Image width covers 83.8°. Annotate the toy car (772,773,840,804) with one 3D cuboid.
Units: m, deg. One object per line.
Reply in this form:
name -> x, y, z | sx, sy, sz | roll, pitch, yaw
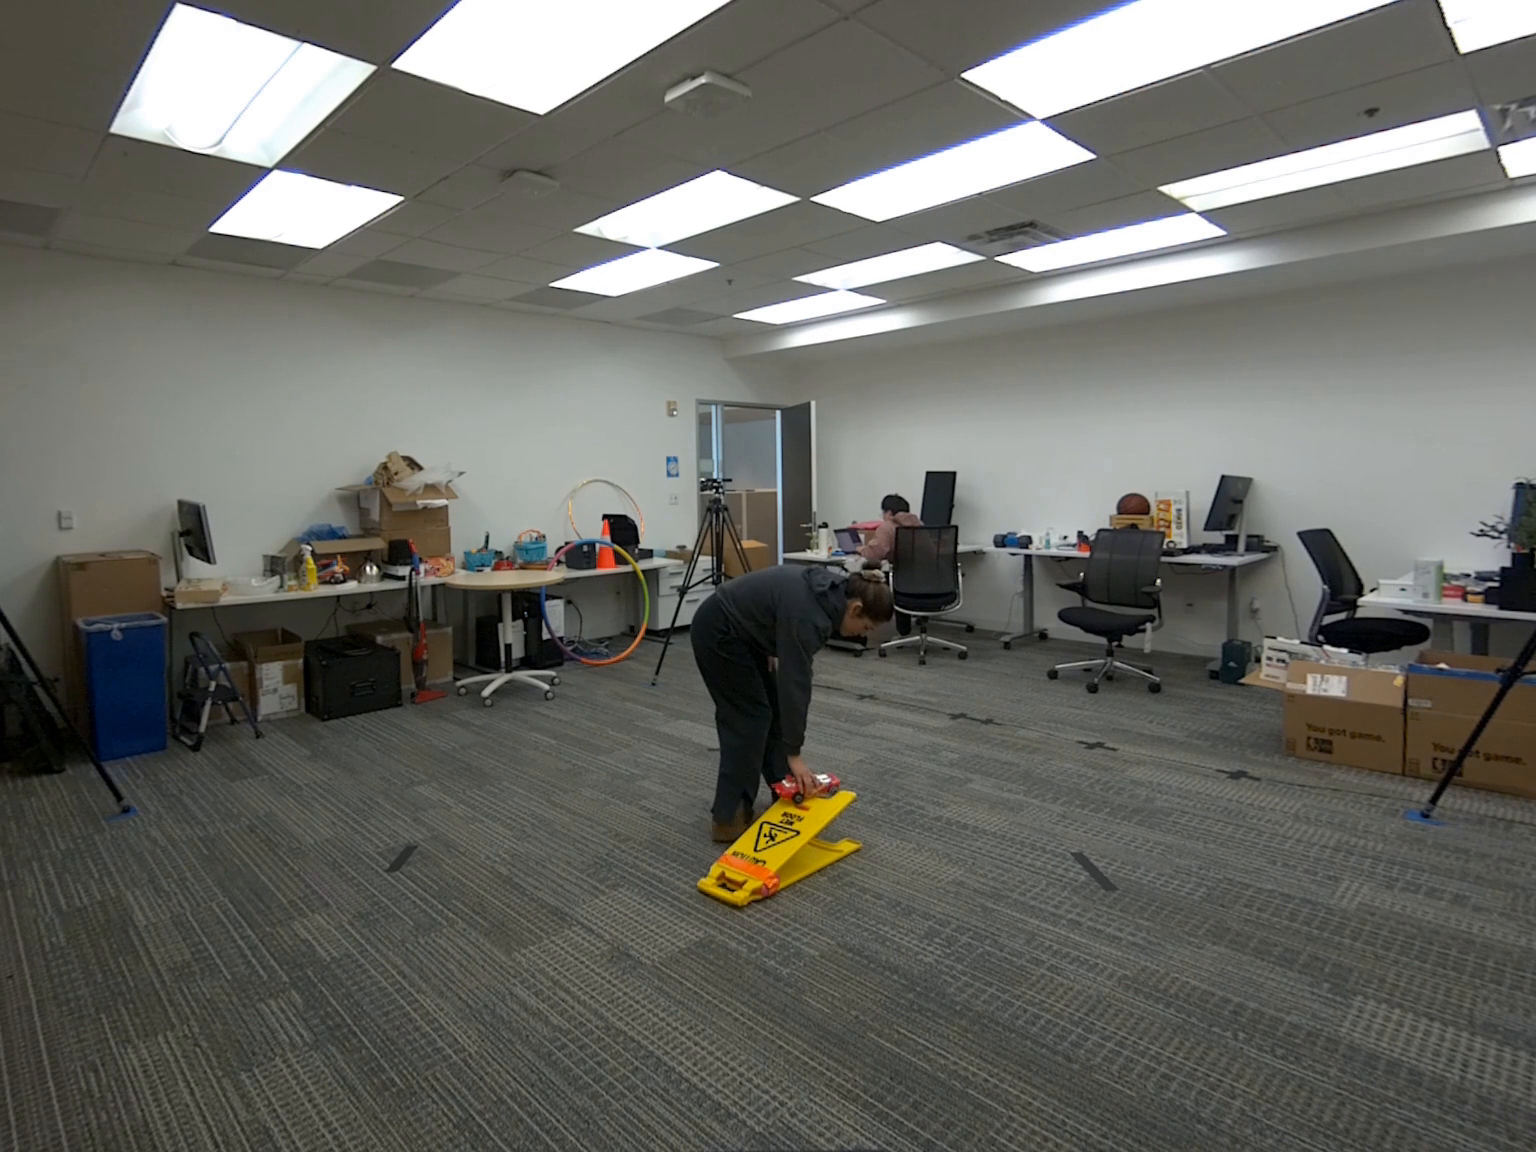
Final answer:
toy car -> 0.148, 0.809, 3.240 | 0.250, 0.083, 0.133 | 2, 8, -17
